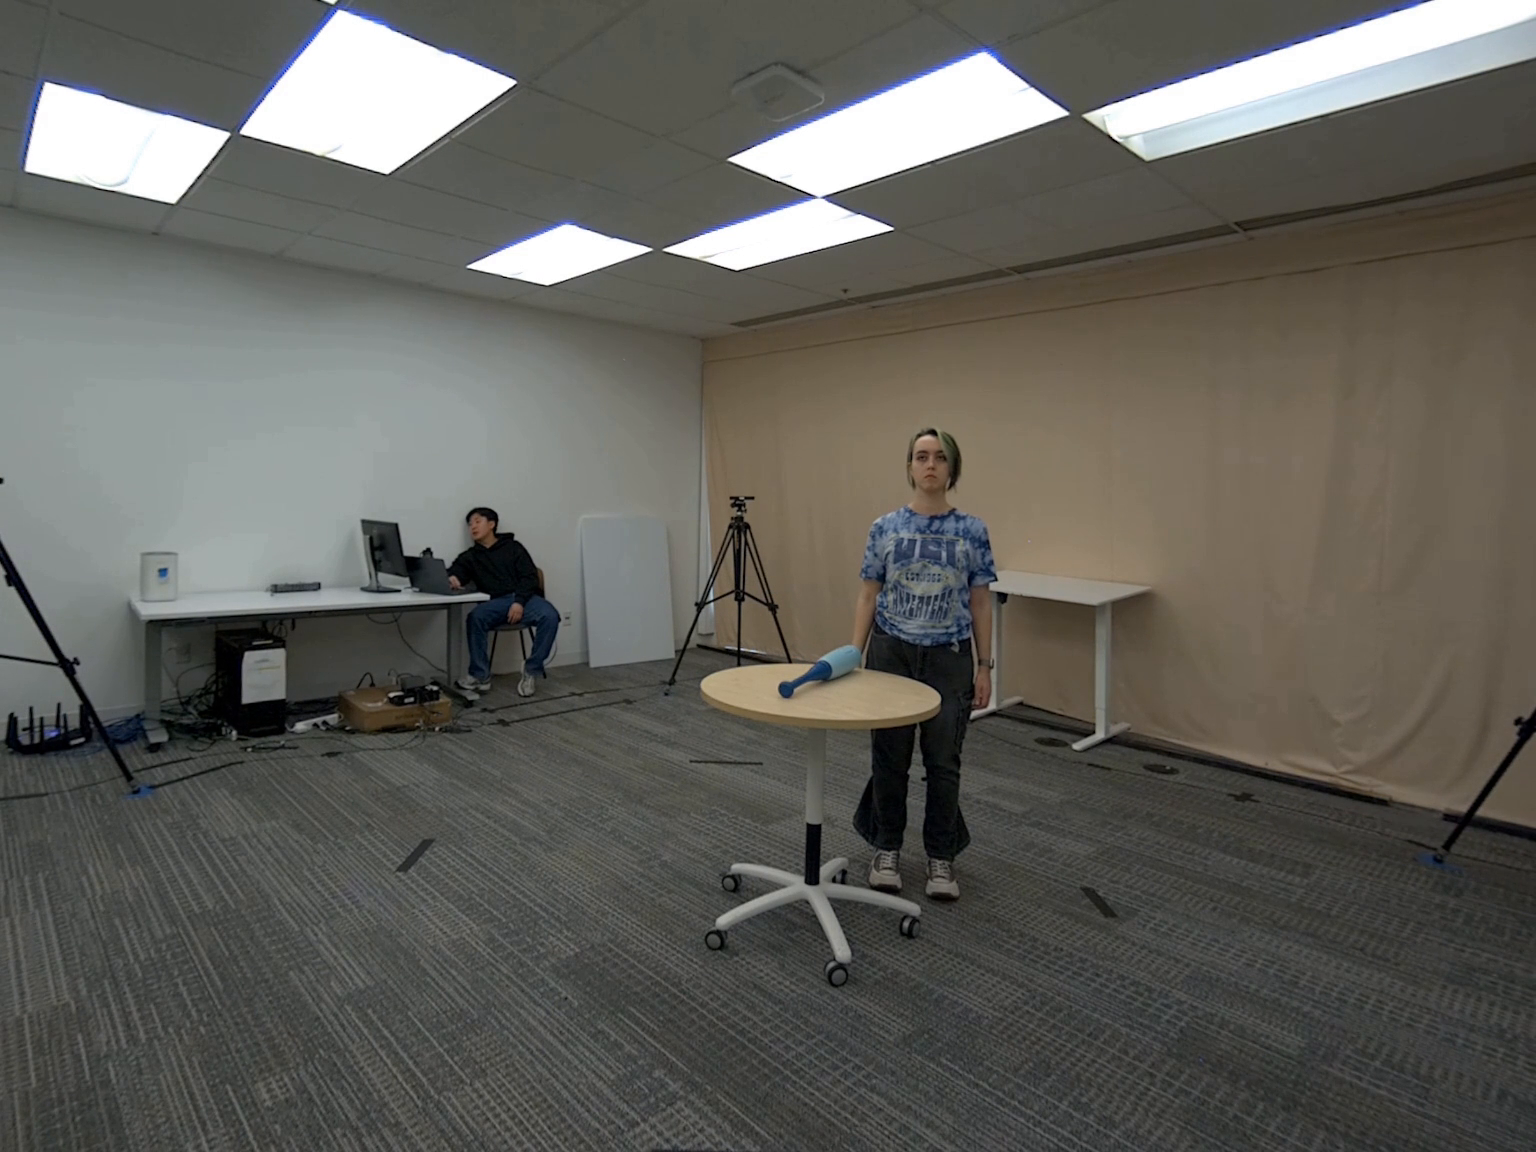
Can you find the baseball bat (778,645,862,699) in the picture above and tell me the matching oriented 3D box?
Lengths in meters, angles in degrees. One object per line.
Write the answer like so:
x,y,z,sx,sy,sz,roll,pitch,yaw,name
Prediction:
0.171,0.322,2.781,0.091,0.088,0.535,3,9,26,baseball bat
